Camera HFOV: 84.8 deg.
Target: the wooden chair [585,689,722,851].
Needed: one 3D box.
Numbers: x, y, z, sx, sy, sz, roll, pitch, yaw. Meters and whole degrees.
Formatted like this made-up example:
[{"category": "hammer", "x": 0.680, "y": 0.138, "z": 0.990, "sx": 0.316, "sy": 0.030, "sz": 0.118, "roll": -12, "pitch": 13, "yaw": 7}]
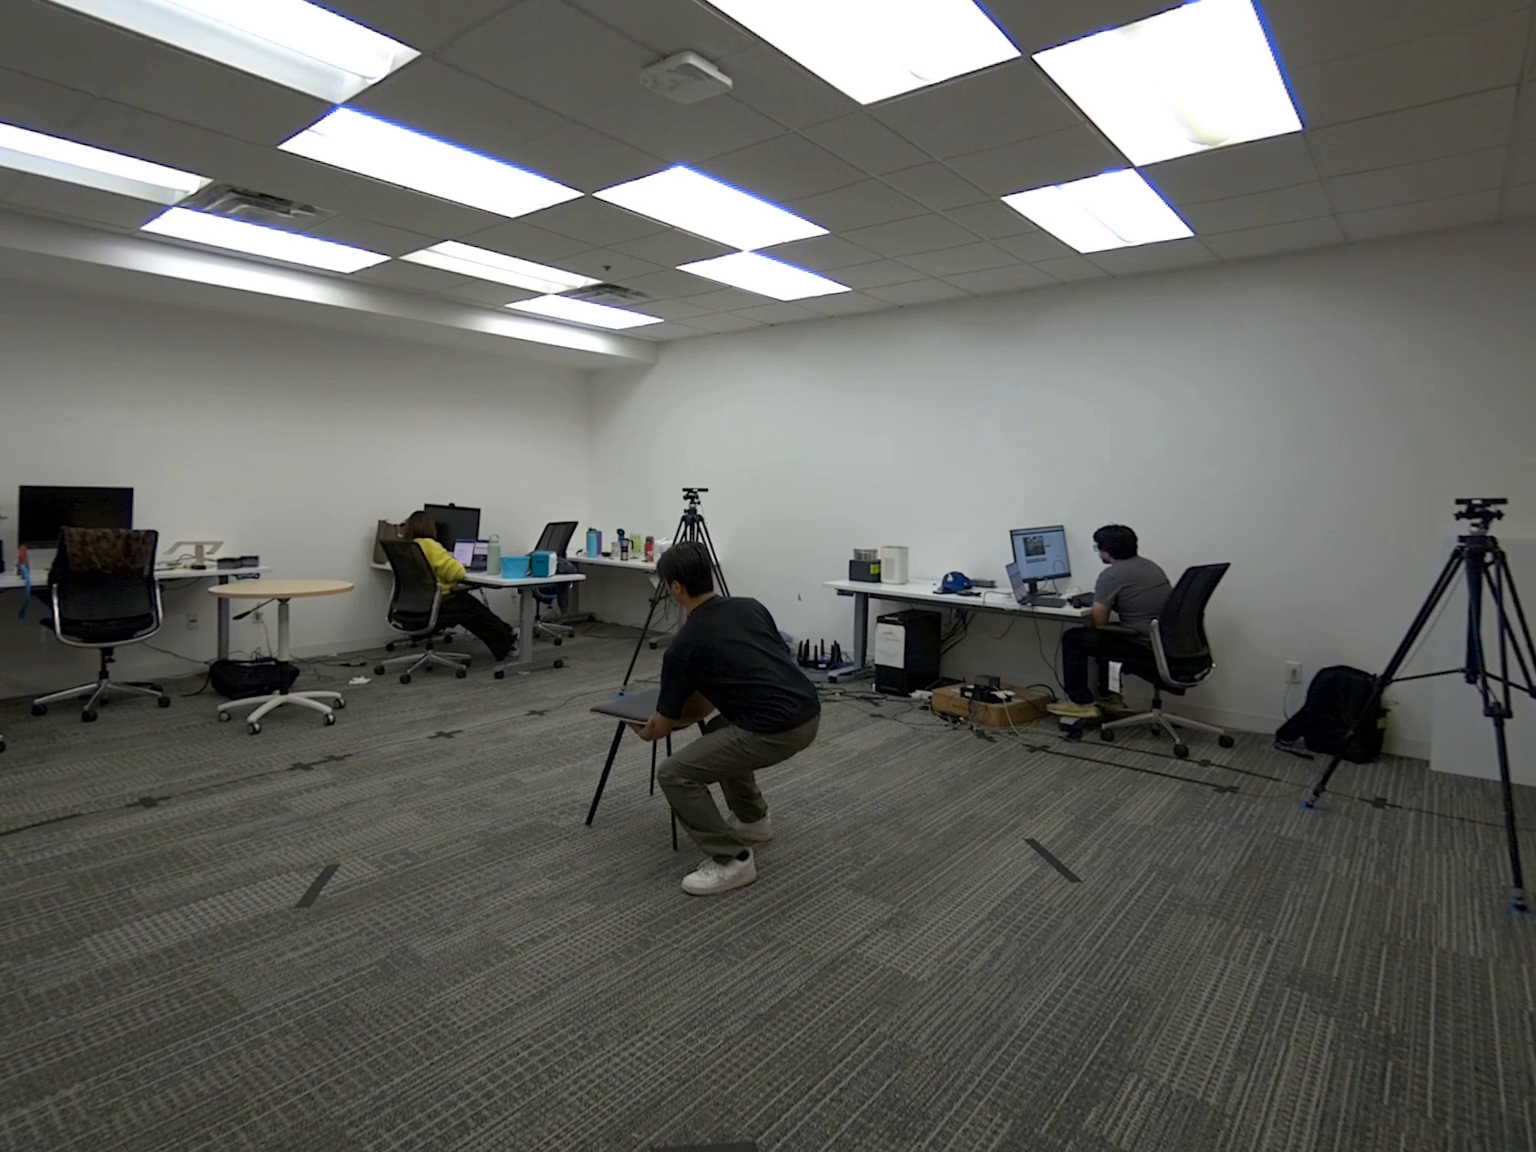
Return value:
[{"category": "wooden chair", "x": -0.453, "y": 0.593, "z": 3.543, "sx": 0.540, "sy": 0.873, "sz": 0.466, "roll": 8, "pitch": 7, "yaw": 30}]
